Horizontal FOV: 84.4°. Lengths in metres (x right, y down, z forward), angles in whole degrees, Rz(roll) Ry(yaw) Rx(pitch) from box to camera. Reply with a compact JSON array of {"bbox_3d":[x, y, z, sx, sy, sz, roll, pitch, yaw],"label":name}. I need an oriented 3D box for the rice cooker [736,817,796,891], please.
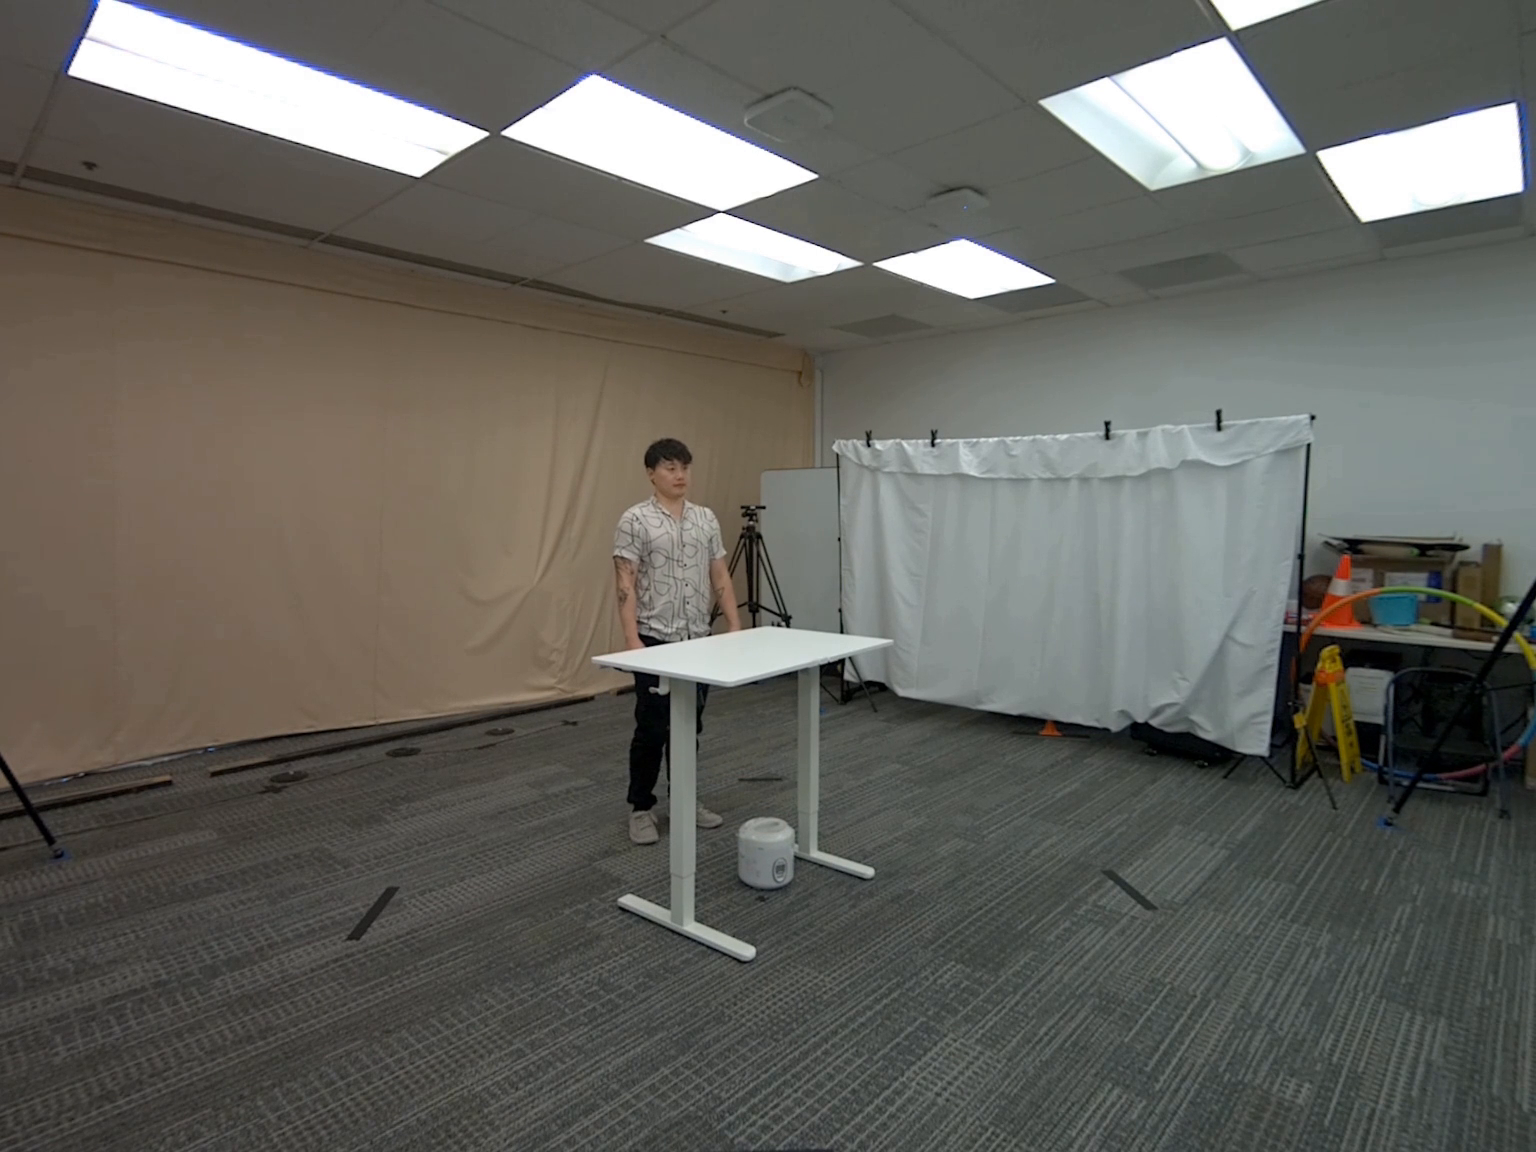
[{"bbox_3d":[-0.006,1.015,3.120,0.215,0.232,0.223,-2,4,-27],"label":"rice cooker"}]
